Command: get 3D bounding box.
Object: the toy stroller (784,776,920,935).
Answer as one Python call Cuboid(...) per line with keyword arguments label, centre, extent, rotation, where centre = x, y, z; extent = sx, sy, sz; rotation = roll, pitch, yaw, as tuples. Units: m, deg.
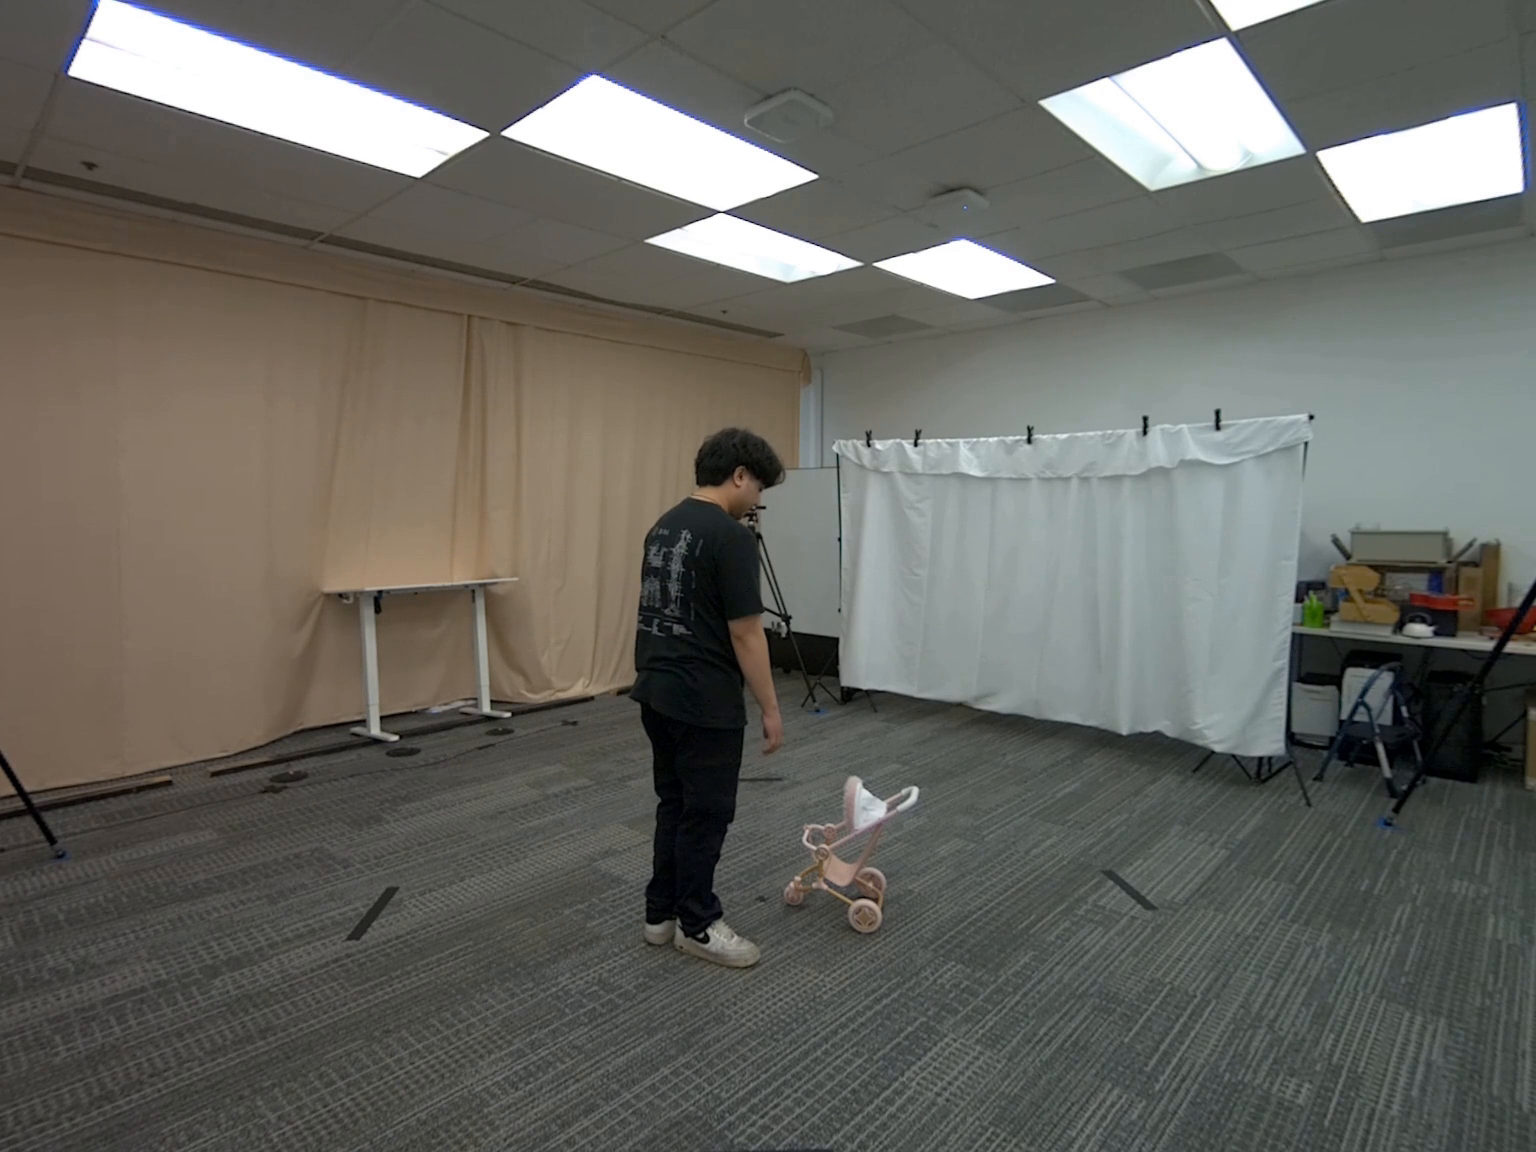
Cuboid(label="toy stroller", centre=(0.283, 0.929, 2.879), extent=(0.348, 0.533, 0.276), rotation=(17, 8, 17))
